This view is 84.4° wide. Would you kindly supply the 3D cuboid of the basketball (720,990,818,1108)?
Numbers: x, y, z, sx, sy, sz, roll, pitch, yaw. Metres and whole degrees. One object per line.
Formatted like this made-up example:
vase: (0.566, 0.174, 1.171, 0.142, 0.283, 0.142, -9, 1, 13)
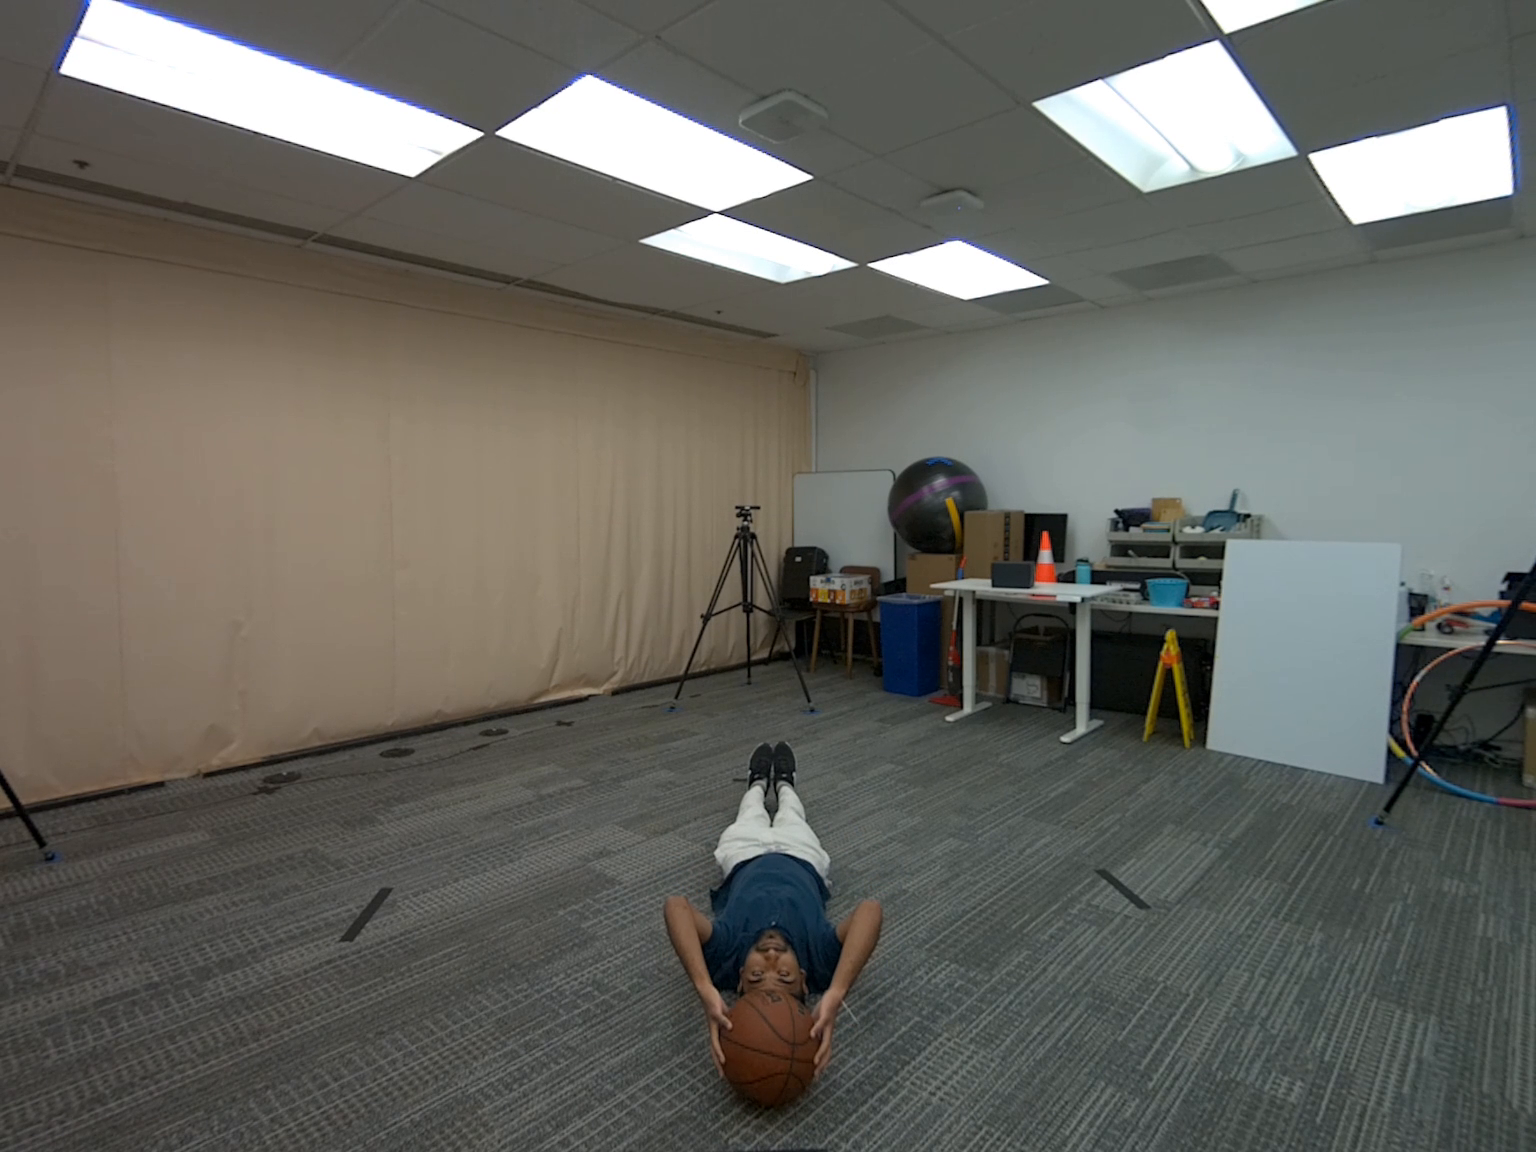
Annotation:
basketball: (0.008, 1.112, 1.975, 0.236, 0.235, 0.237, 0, 4, -2)
